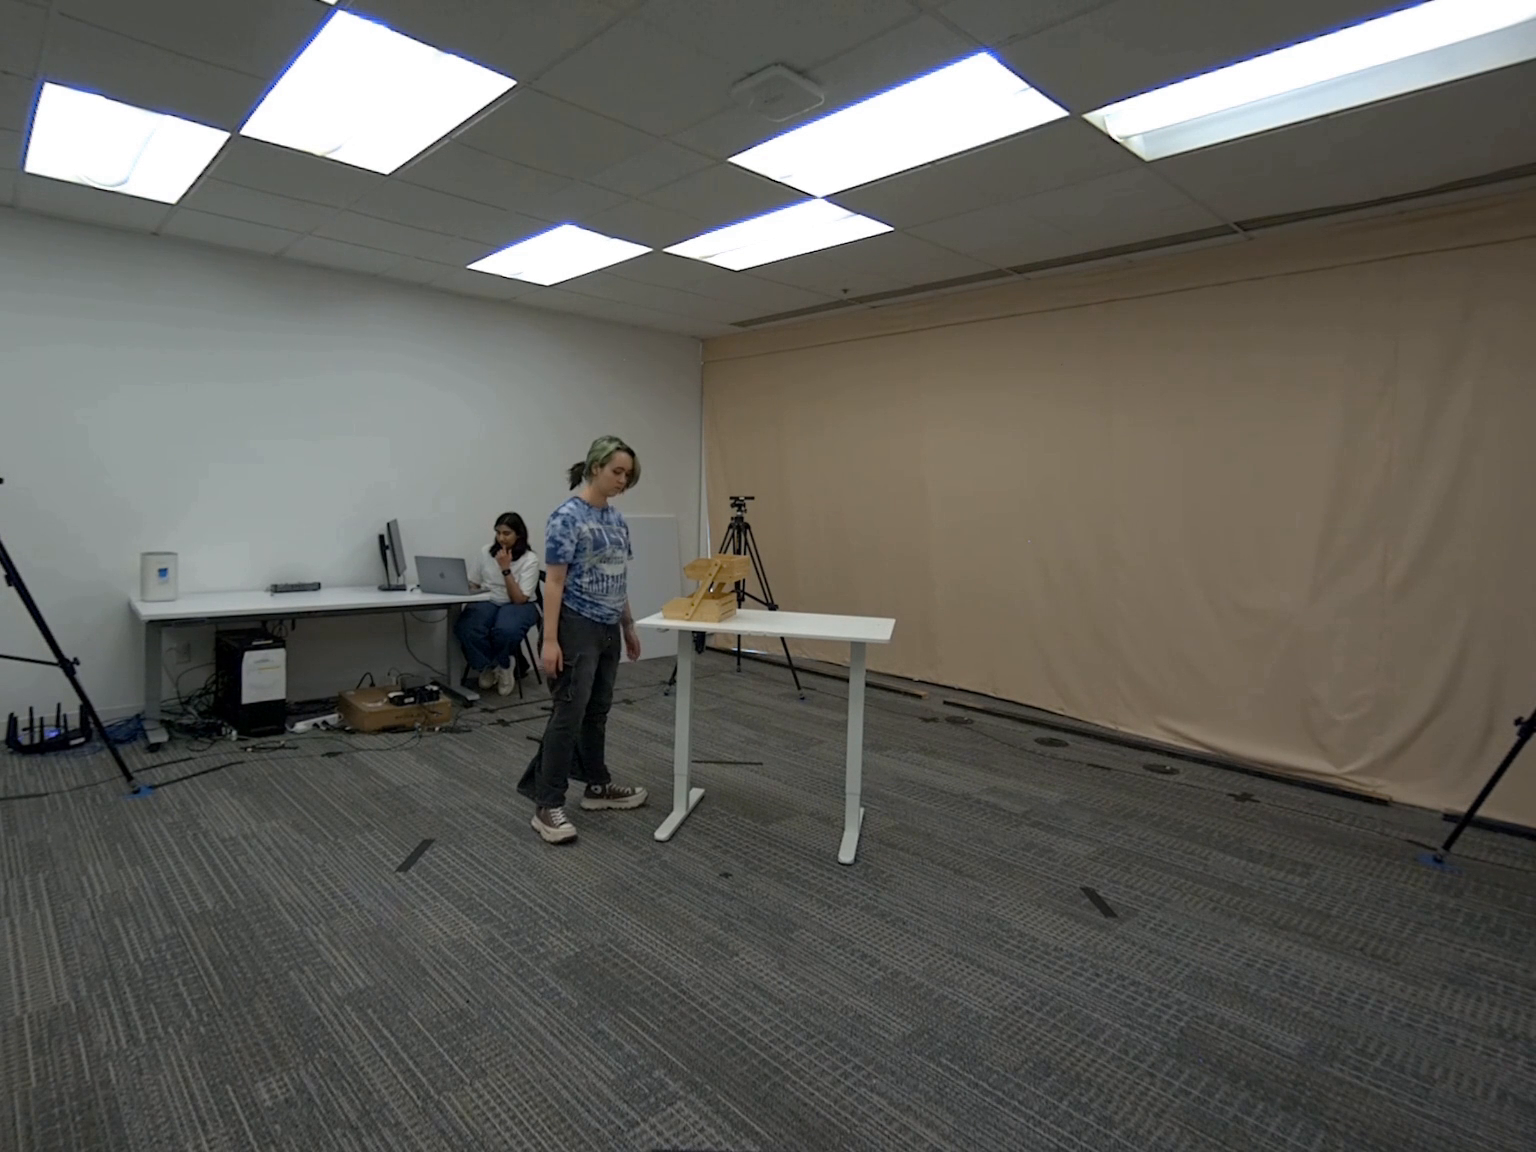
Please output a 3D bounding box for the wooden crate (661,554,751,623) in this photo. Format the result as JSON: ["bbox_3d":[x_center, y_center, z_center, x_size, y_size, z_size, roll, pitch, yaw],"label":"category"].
[{"bbox_3d":[-0.278,0.043,3.588,0.305,0.272,0.322,3,4,12],"label":"wooden crate"}]
